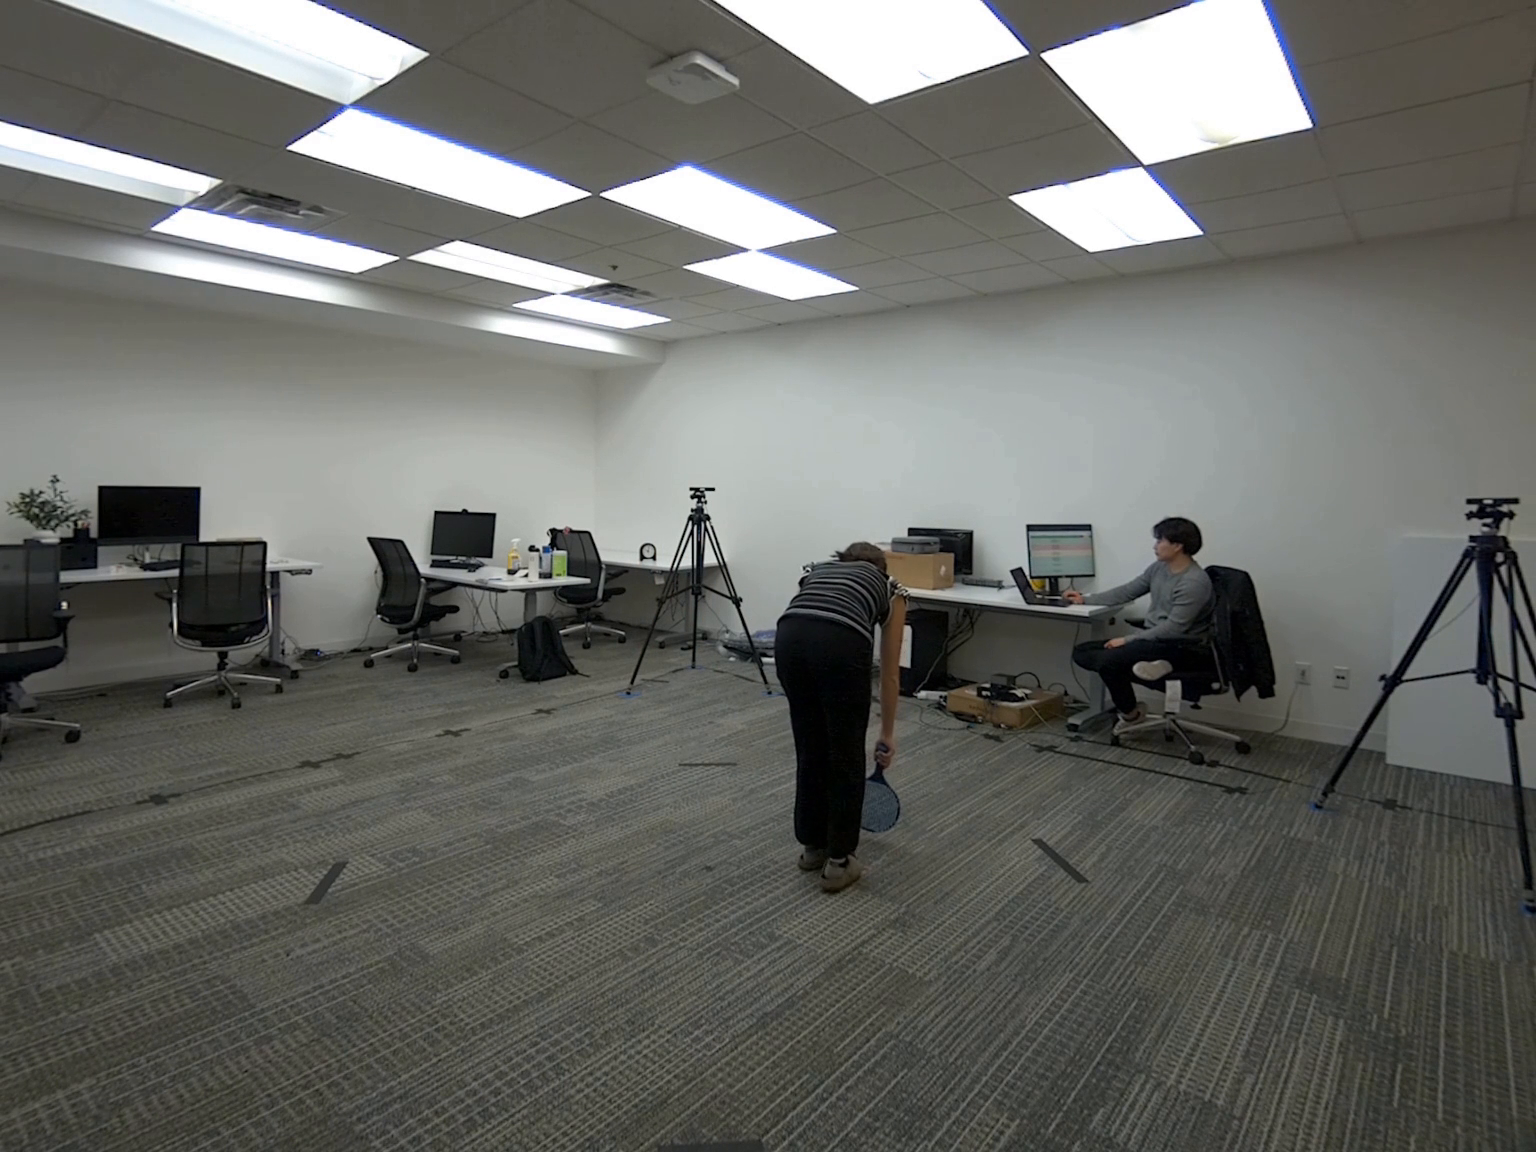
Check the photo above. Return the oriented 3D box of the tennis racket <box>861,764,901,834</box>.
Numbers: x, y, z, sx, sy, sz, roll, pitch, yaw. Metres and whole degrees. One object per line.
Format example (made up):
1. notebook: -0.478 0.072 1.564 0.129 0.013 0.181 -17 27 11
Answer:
1. tennis racket: 0.405 0.824 3.313 0.216 0.424 0.032 11 26 10
